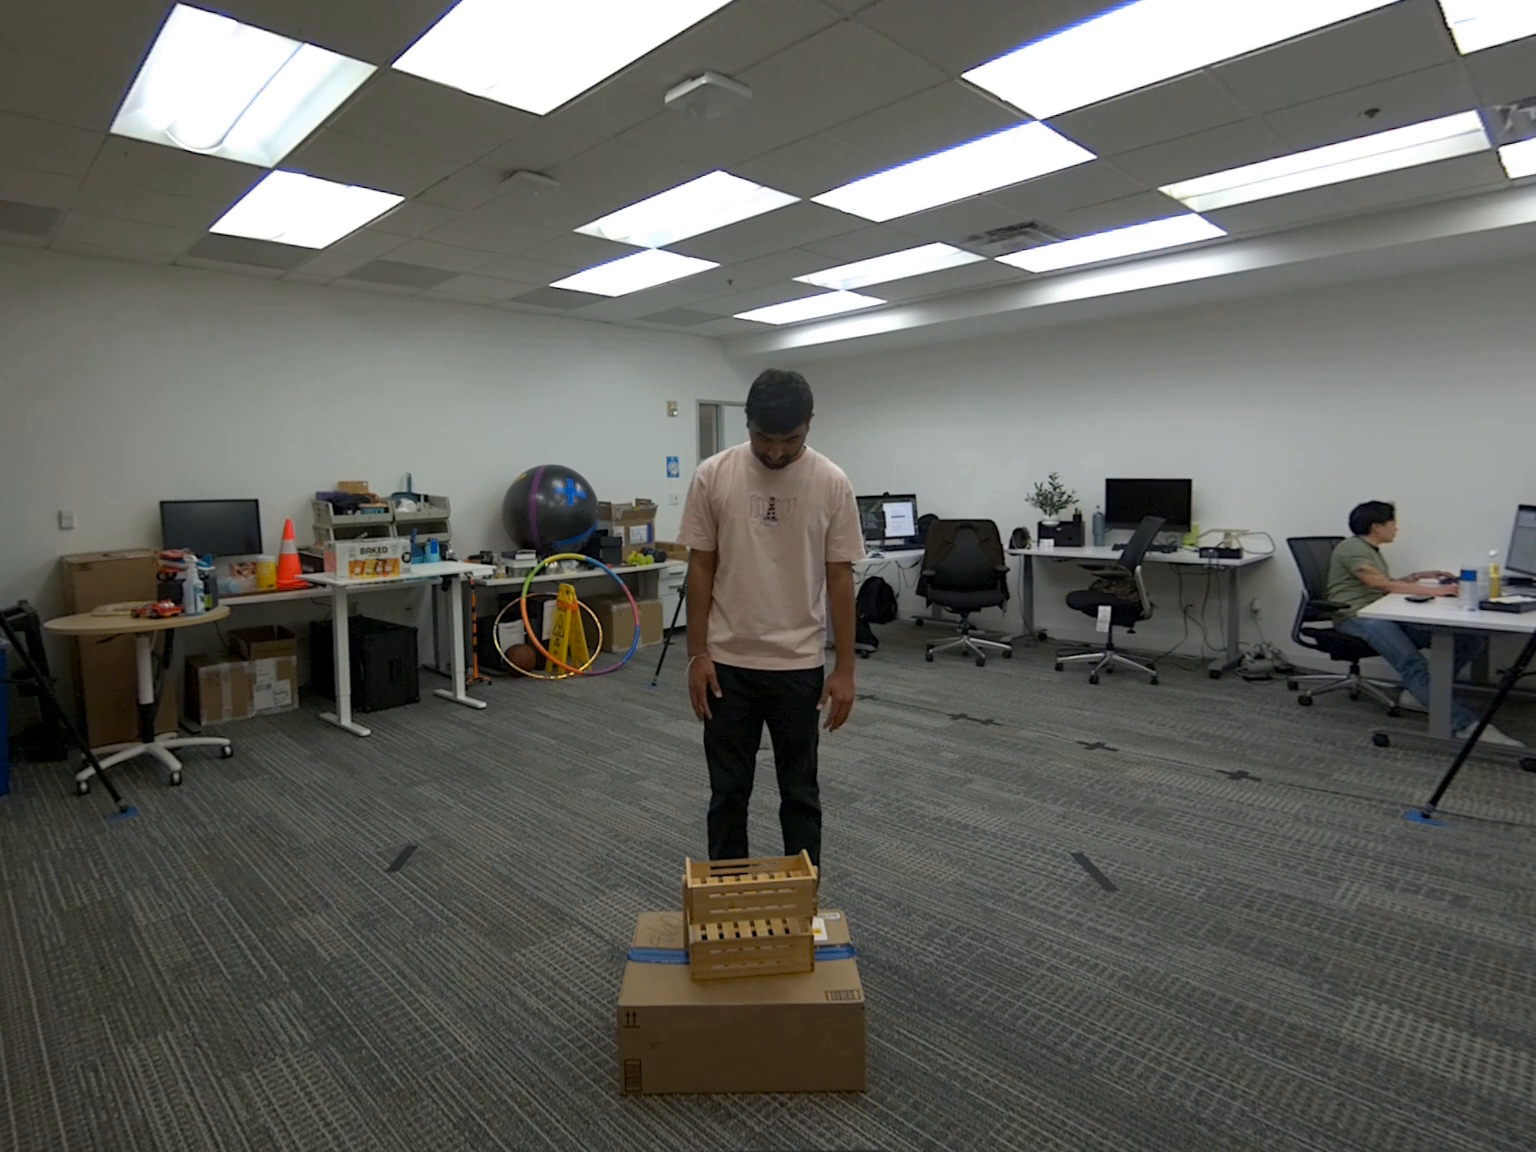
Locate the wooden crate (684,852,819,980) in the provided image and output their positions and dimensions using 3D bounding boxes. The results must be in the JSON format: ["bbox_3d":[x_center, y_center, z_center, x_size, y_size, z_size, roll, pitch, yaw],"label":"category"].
[{"bbox_3d":[-0.048,0.818,2.144,0.323,0.271,0.306,-2,7,-6],"label":"wooden crate"}]
